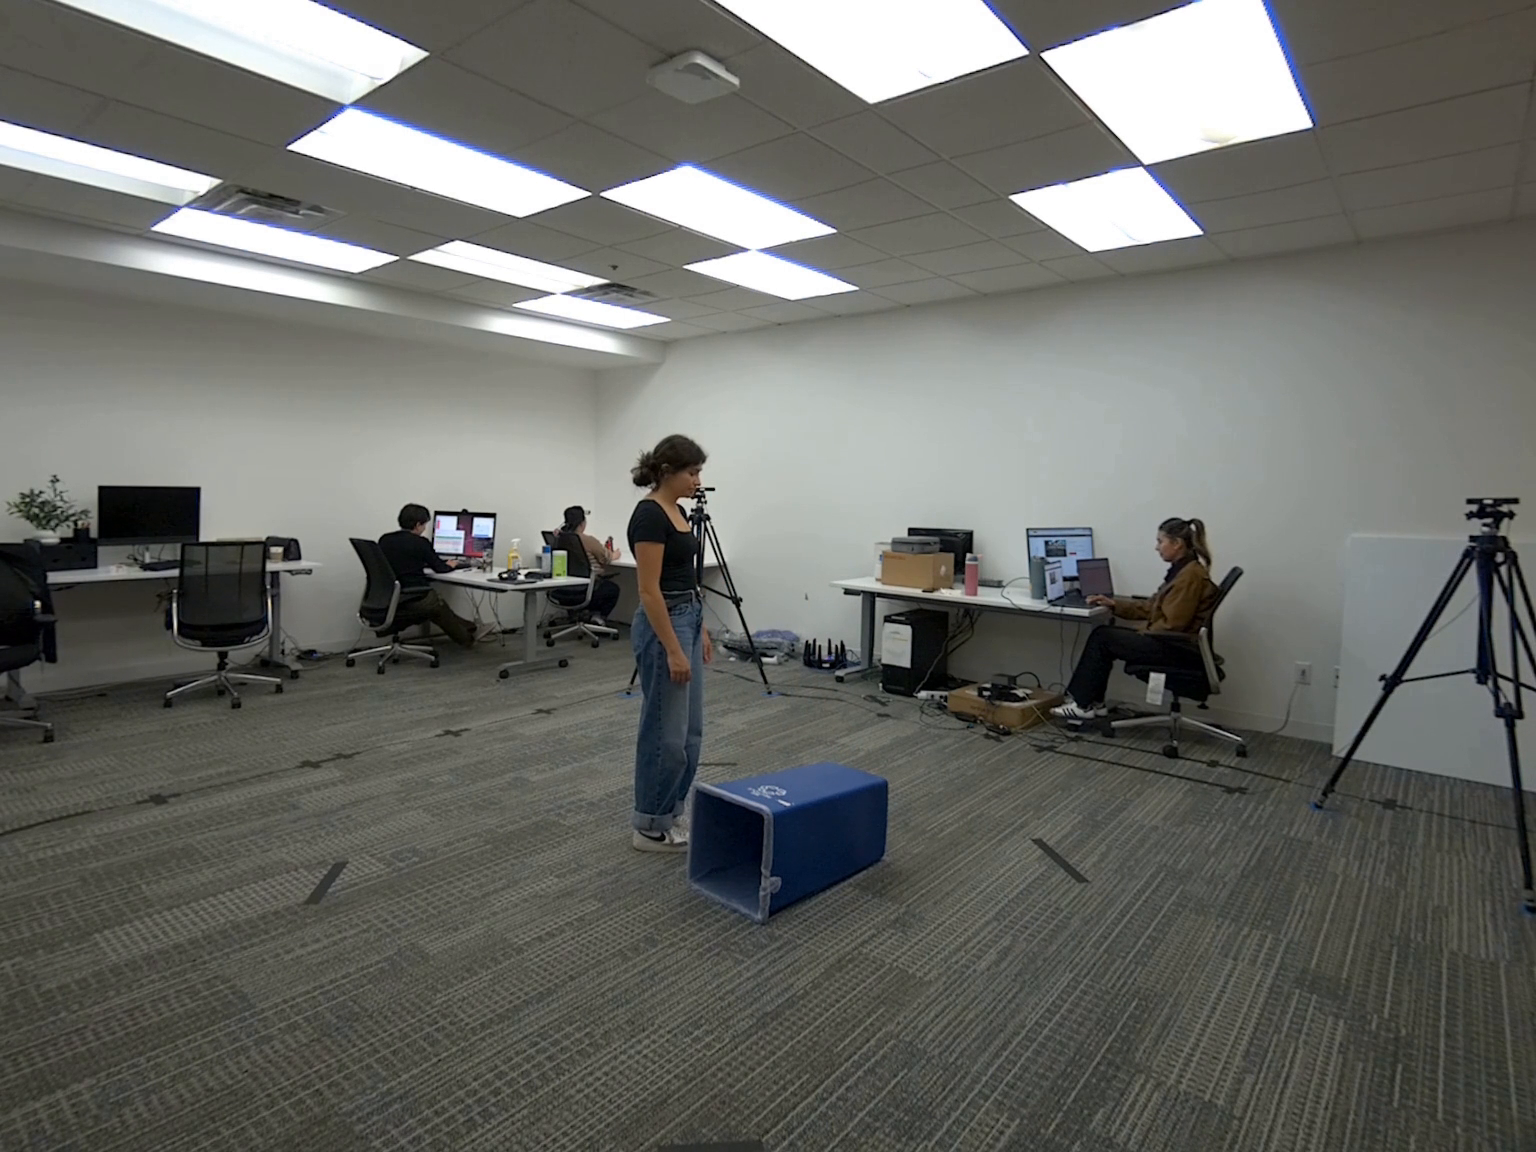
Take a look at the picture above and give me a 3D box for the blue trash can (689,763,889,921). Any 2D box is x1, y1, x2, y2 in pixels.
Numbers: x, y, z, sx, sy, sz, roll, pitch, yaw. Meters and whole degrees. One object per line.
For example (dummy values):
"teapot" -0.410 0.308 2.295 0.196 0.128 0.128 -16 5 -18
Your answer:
"blue trash can" 0.097 0.912 3.069 0.391 0.374 0.690 4 2 45
